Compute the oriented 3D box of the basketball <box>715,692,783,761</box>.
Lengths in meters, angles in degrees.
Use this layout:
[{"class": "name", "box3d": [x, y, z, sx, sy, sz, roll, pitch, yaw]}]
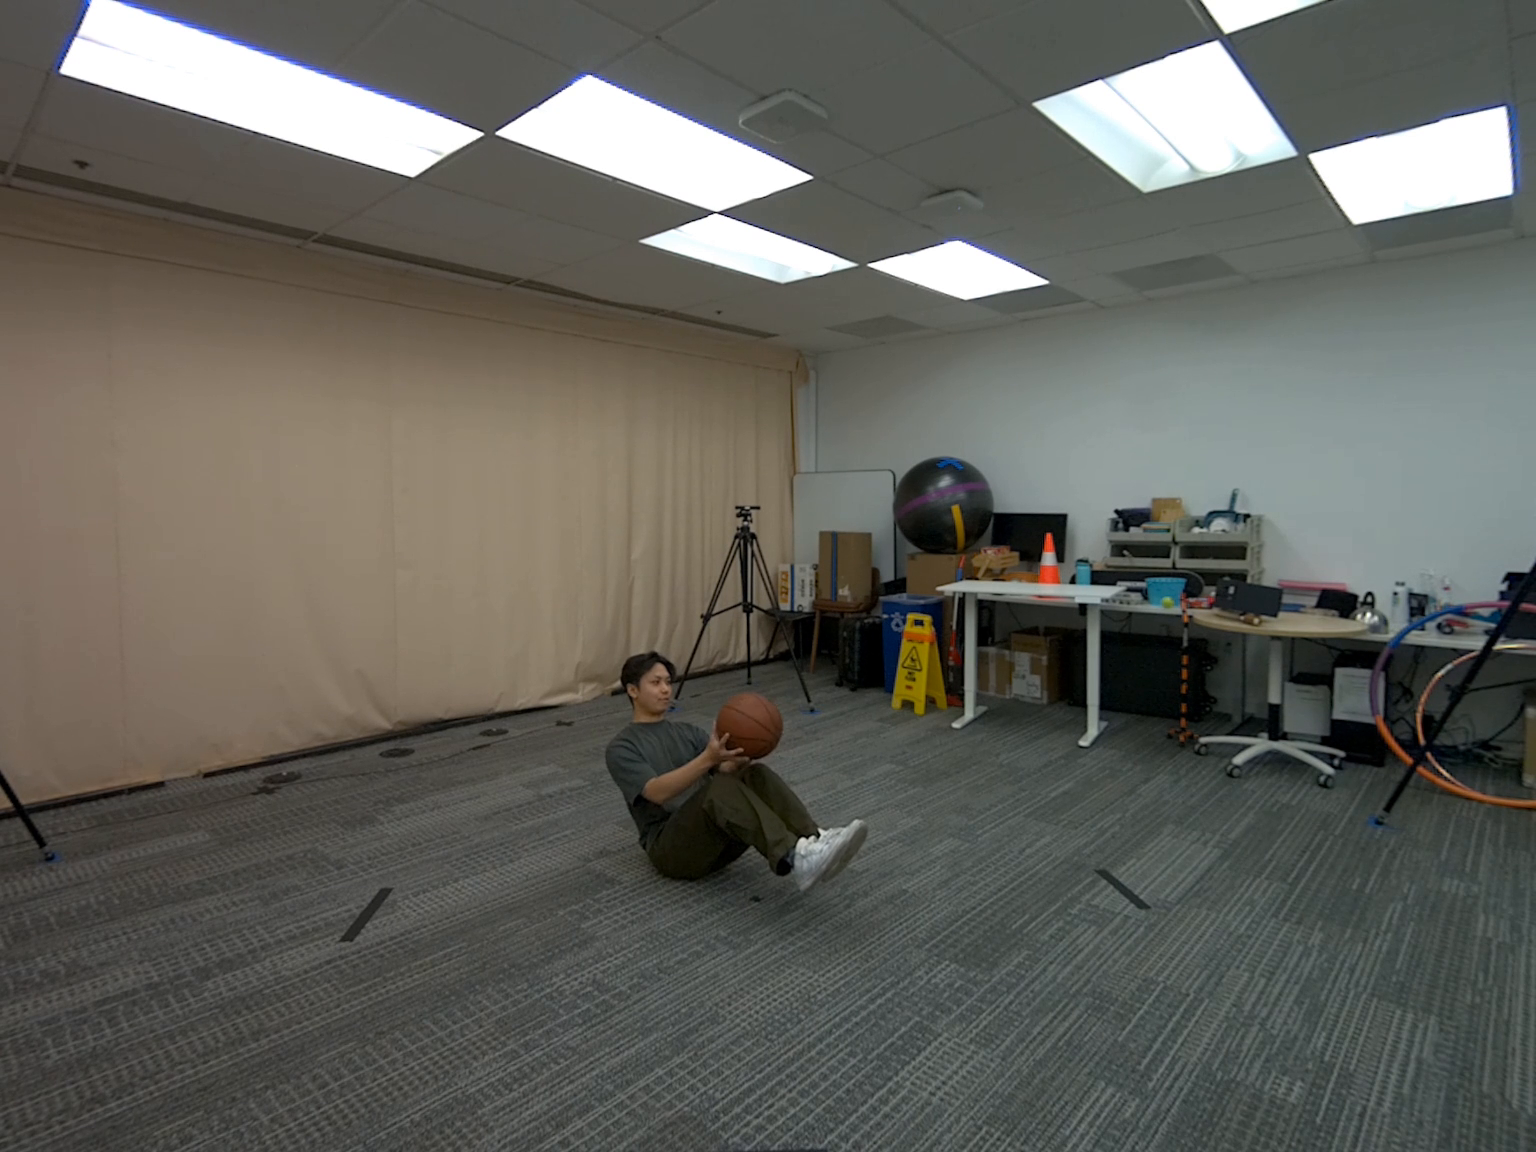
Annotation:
[{"class": "basketball", "box3d": [-0.050, 0.542, 3.017, 0.236, 0.235, 0.237, 0, 4, -2]}]
